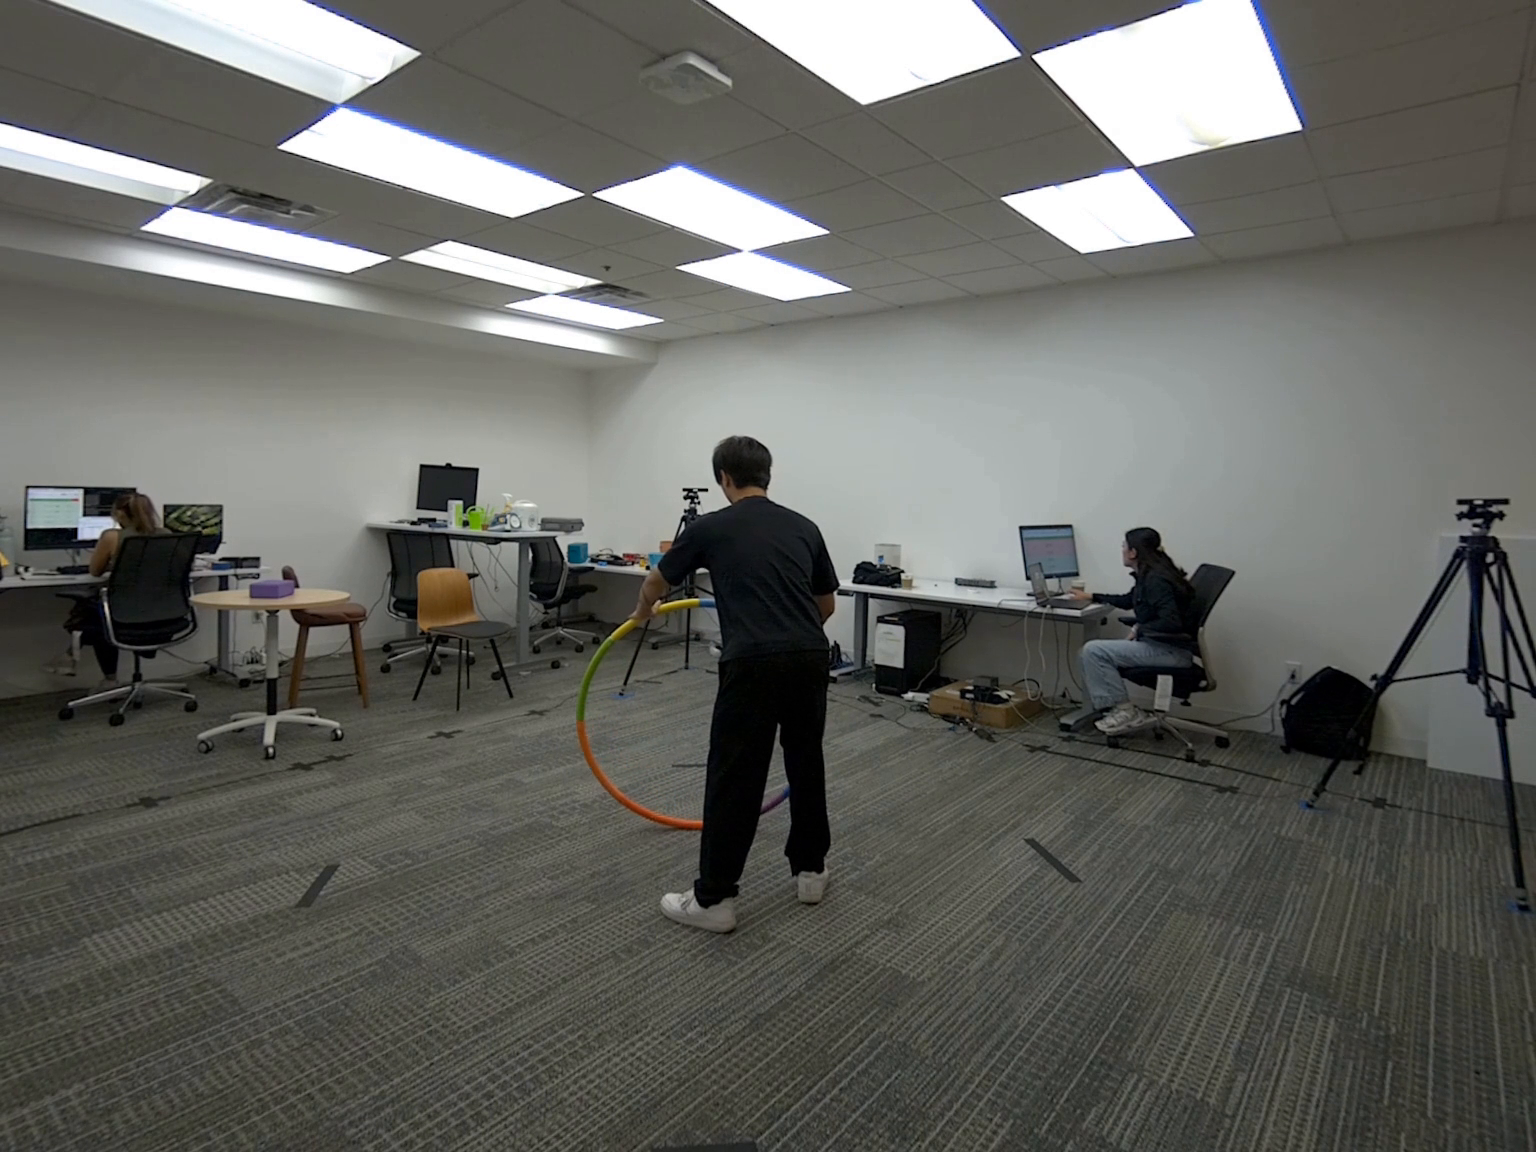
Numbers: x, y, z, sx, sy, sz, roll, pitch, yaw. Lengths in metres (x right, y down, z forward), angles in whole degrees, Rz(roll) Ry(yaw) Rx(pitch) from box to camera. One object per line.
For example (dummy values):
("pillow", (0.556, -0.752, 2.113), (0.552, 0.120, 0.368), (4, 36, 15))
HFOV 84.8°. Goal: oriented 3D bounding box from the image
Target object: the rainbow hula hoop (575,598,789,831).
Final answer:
("rainbow hula hoop", (-0.284, 0.566, 3.391), (0.977, 0.968, 0.036), (1, 11, -1))
